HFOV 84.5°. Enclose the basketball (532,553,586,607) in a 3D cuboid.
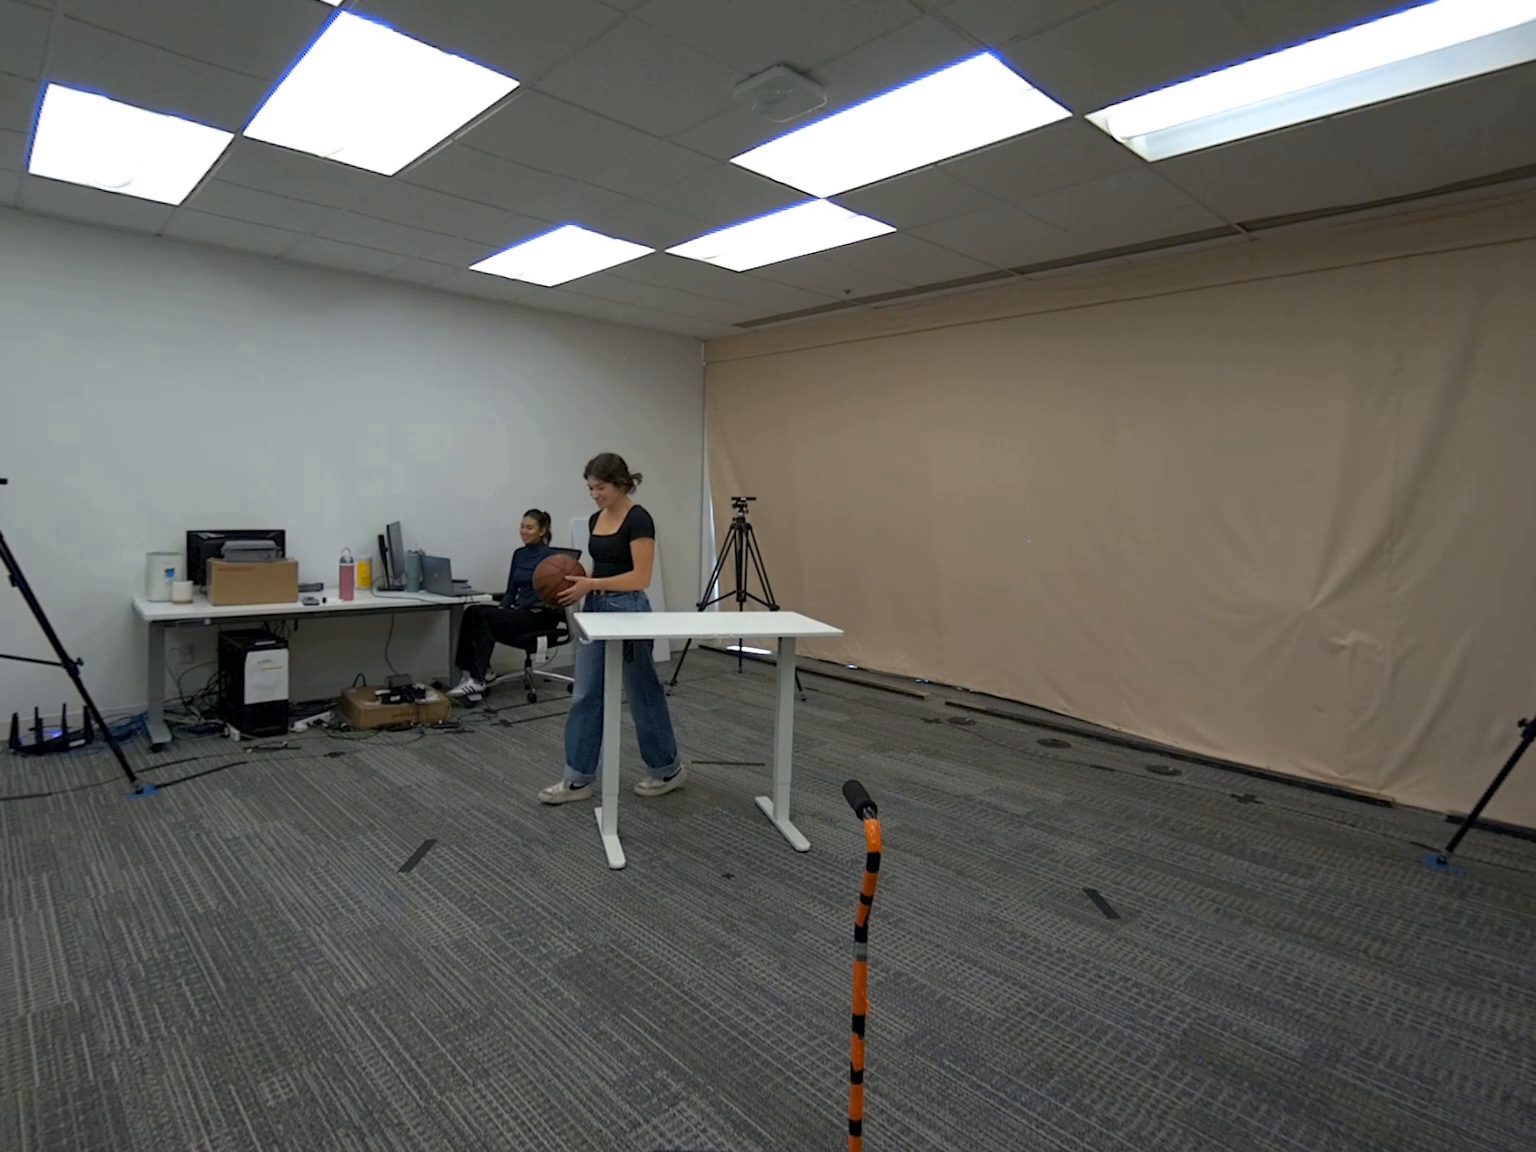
[{"bbox_3d":[-0.947,0.019,3.757,0.236,0.235,0.237,1,4,-1],"label":"basketball"}]
